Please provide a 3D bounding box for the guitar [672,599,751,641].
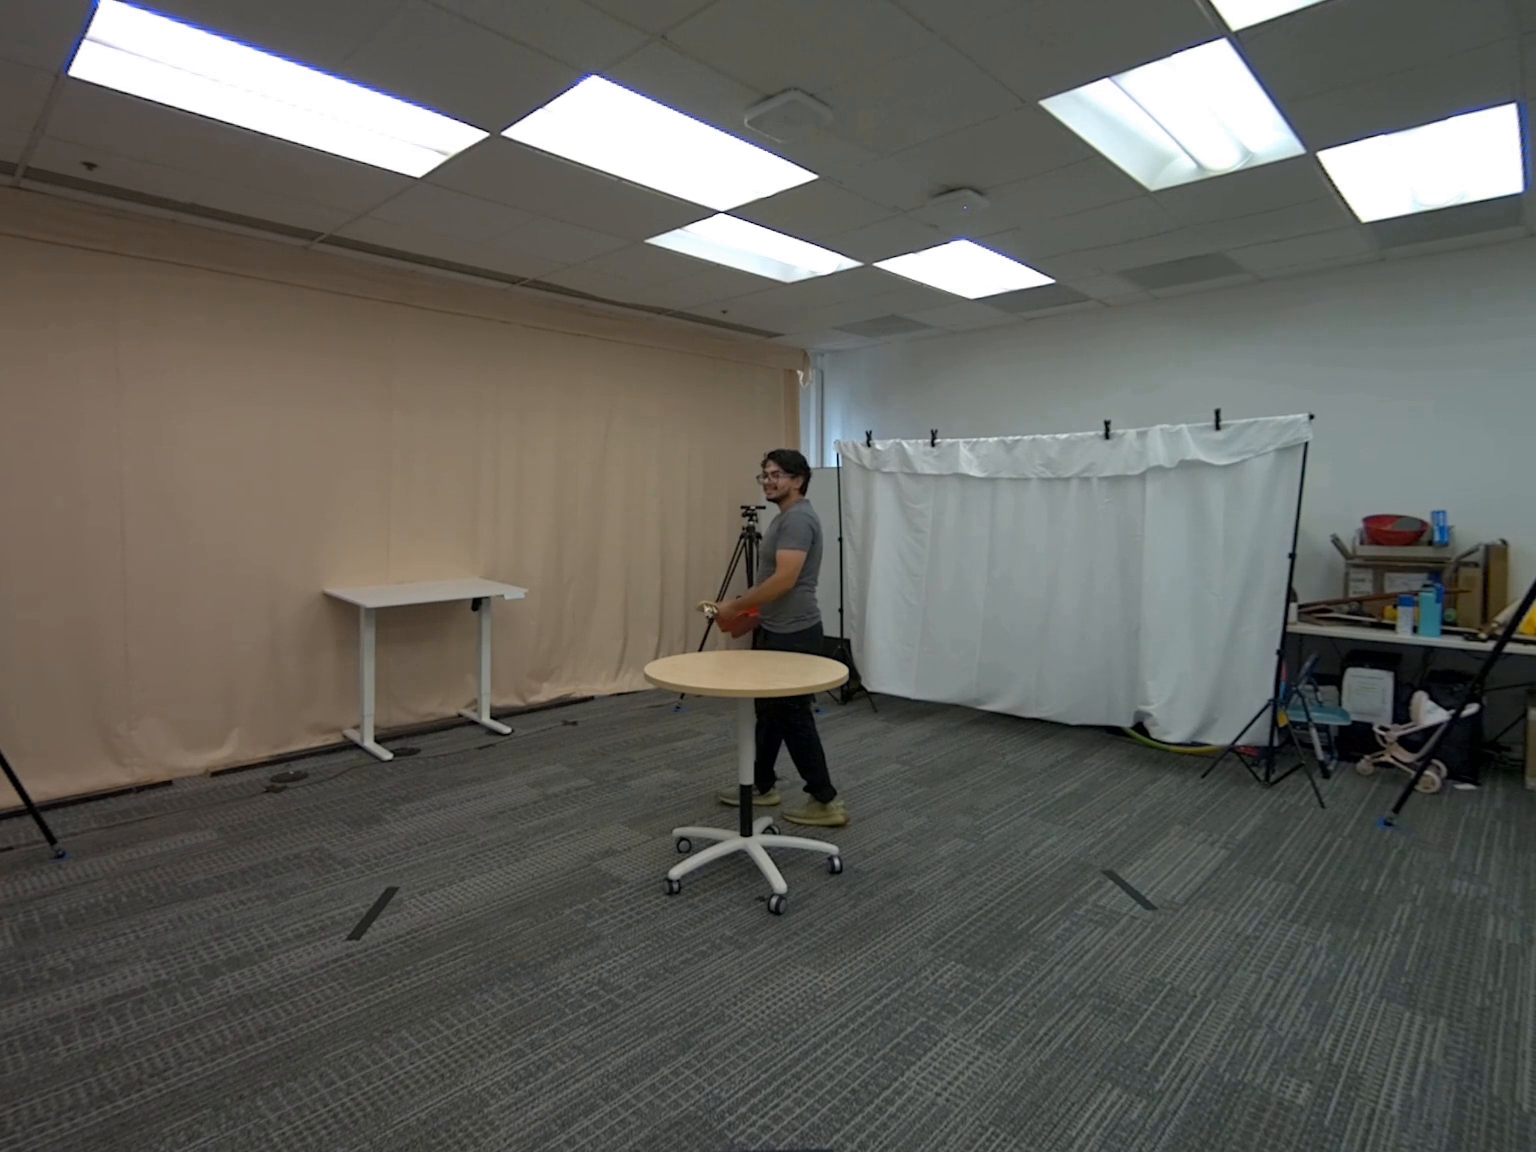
[{"bbox_3d":[-0.195,0.195,3.758,0.194,0.072,0.482,-42,-23,24],"label":"guitar"}]
